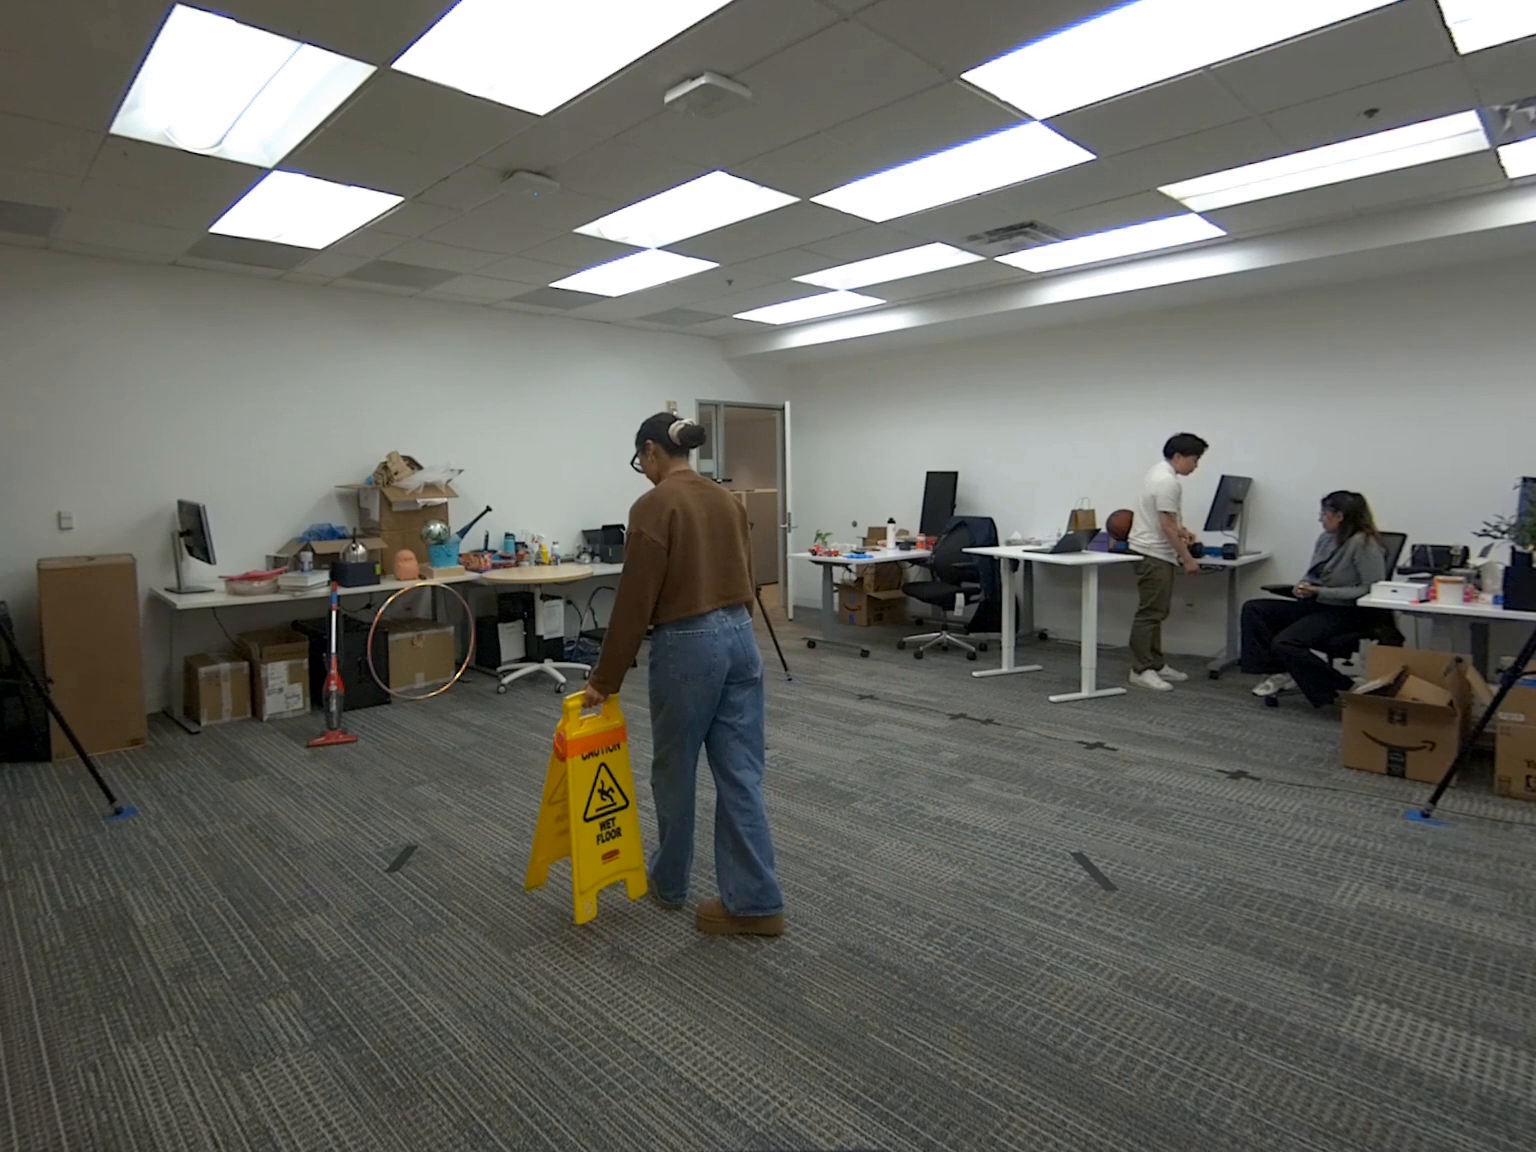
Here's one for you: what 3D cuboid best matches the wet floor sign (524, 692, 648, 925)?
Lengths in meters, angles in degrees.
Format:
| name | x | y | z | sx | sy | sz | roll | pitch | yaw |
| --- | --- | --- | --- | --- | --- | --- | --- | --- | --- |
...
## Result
| name | x | y | z | sx | sy | sz | roll | pitch | yaw |
| --- | --- | --- | --- | --- | --- | --- | --- | --- | --- |
| wet floor sign | -0.545 | 0.674 | 2.641 | 0.299 | 0.642 | 0.275 | 9 | 9 | 40 |
